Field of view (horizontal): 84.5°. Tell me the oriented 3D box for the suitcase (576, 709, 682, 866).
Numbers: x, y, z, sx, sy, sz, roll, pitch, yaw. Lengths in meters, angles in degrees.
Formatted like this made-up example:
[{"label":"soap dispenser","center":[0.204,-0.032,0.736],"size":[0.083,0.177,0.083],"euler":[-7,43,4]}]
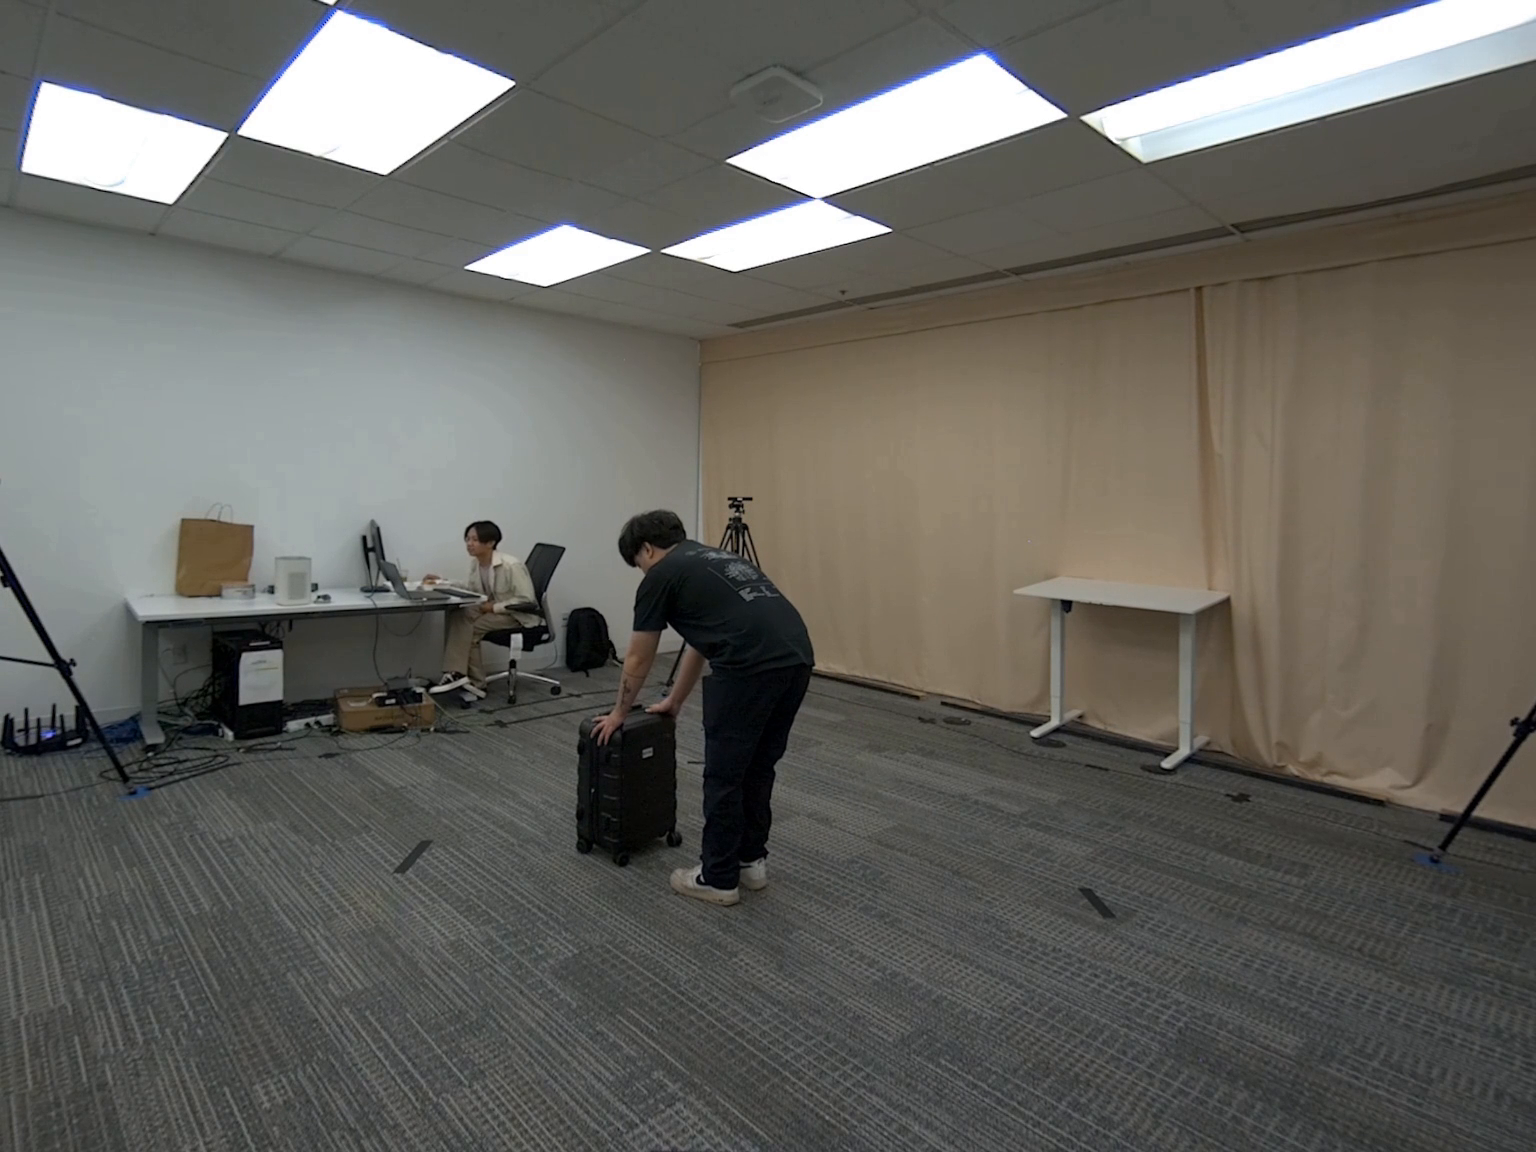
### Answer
[{"label":"suitcase","center":[-0.565,0.807,3.334],"size":[0.254,0.548,0.367],"euler":[2,3,38]}]
